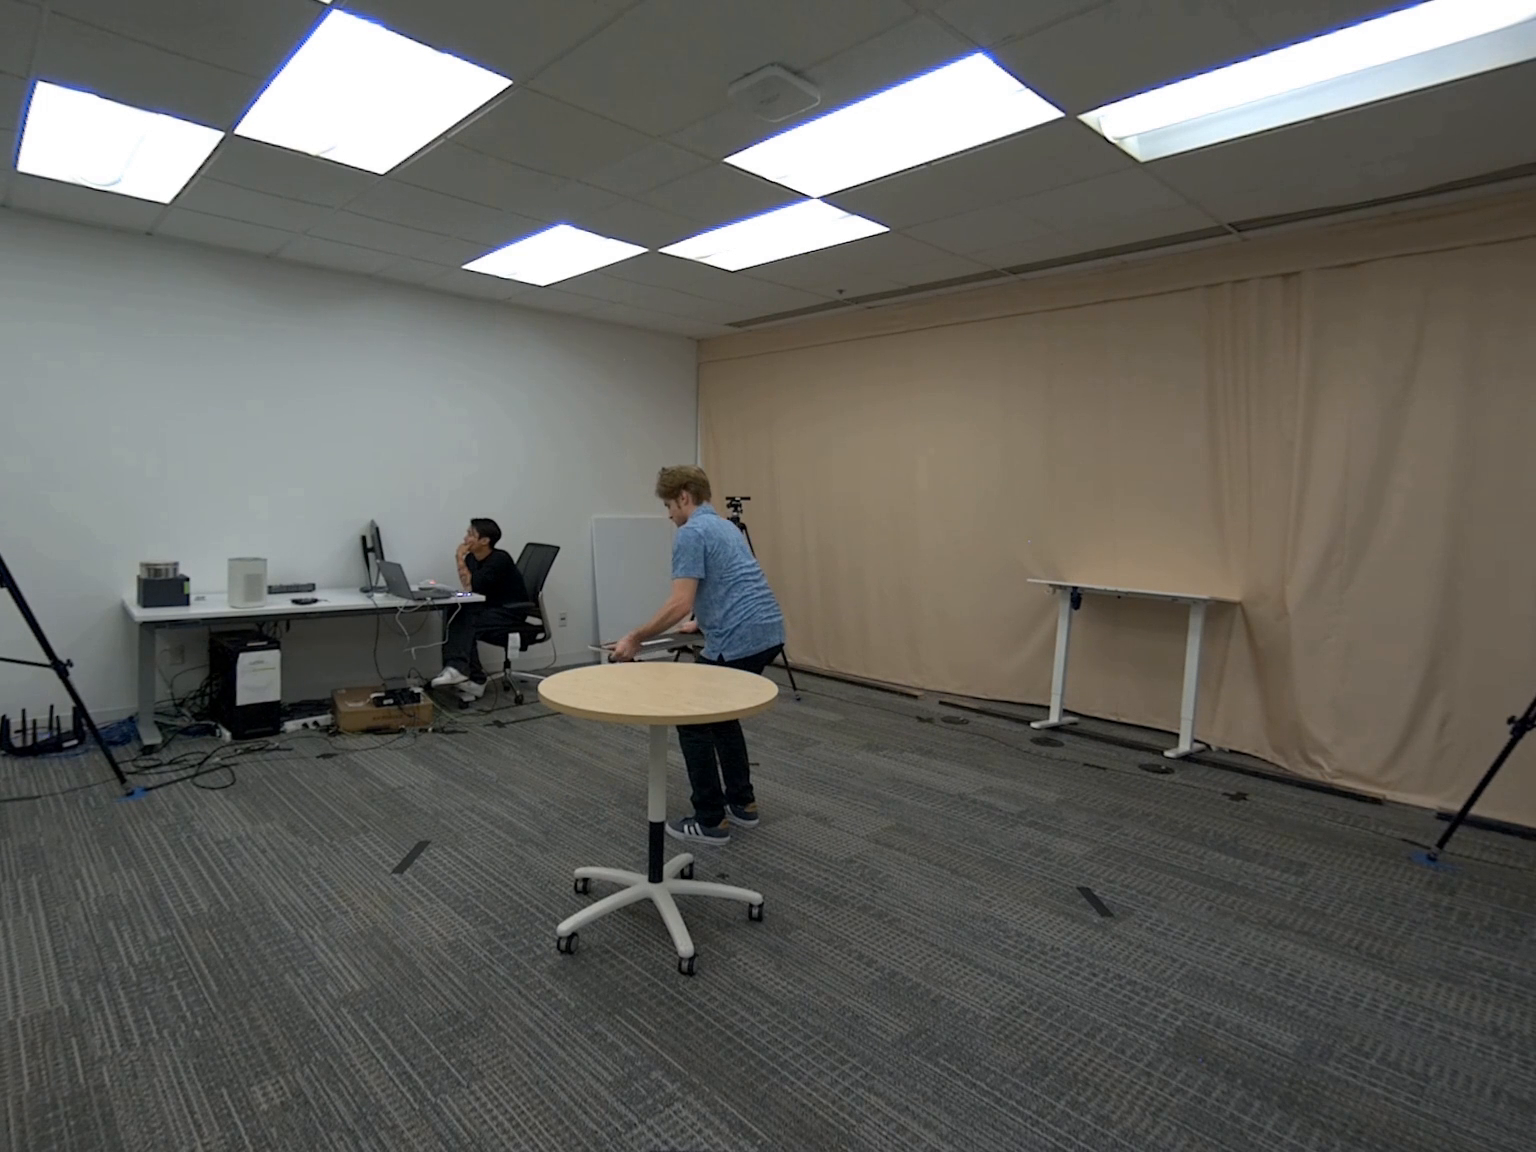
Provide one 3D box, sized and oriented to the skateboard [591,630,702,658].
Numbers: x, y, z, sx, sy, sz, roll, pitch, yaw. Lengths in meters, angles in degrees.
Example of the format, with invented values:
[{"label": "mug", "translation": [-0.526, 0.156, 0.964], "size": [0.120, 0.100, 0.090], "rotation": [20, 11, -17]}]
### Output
[{"label": "skateboard", "translation": [-0.491, 0.325, 3.711], "size": [0.198, 0.110, 0.769], "rotation": [10, 9, 34]}]
